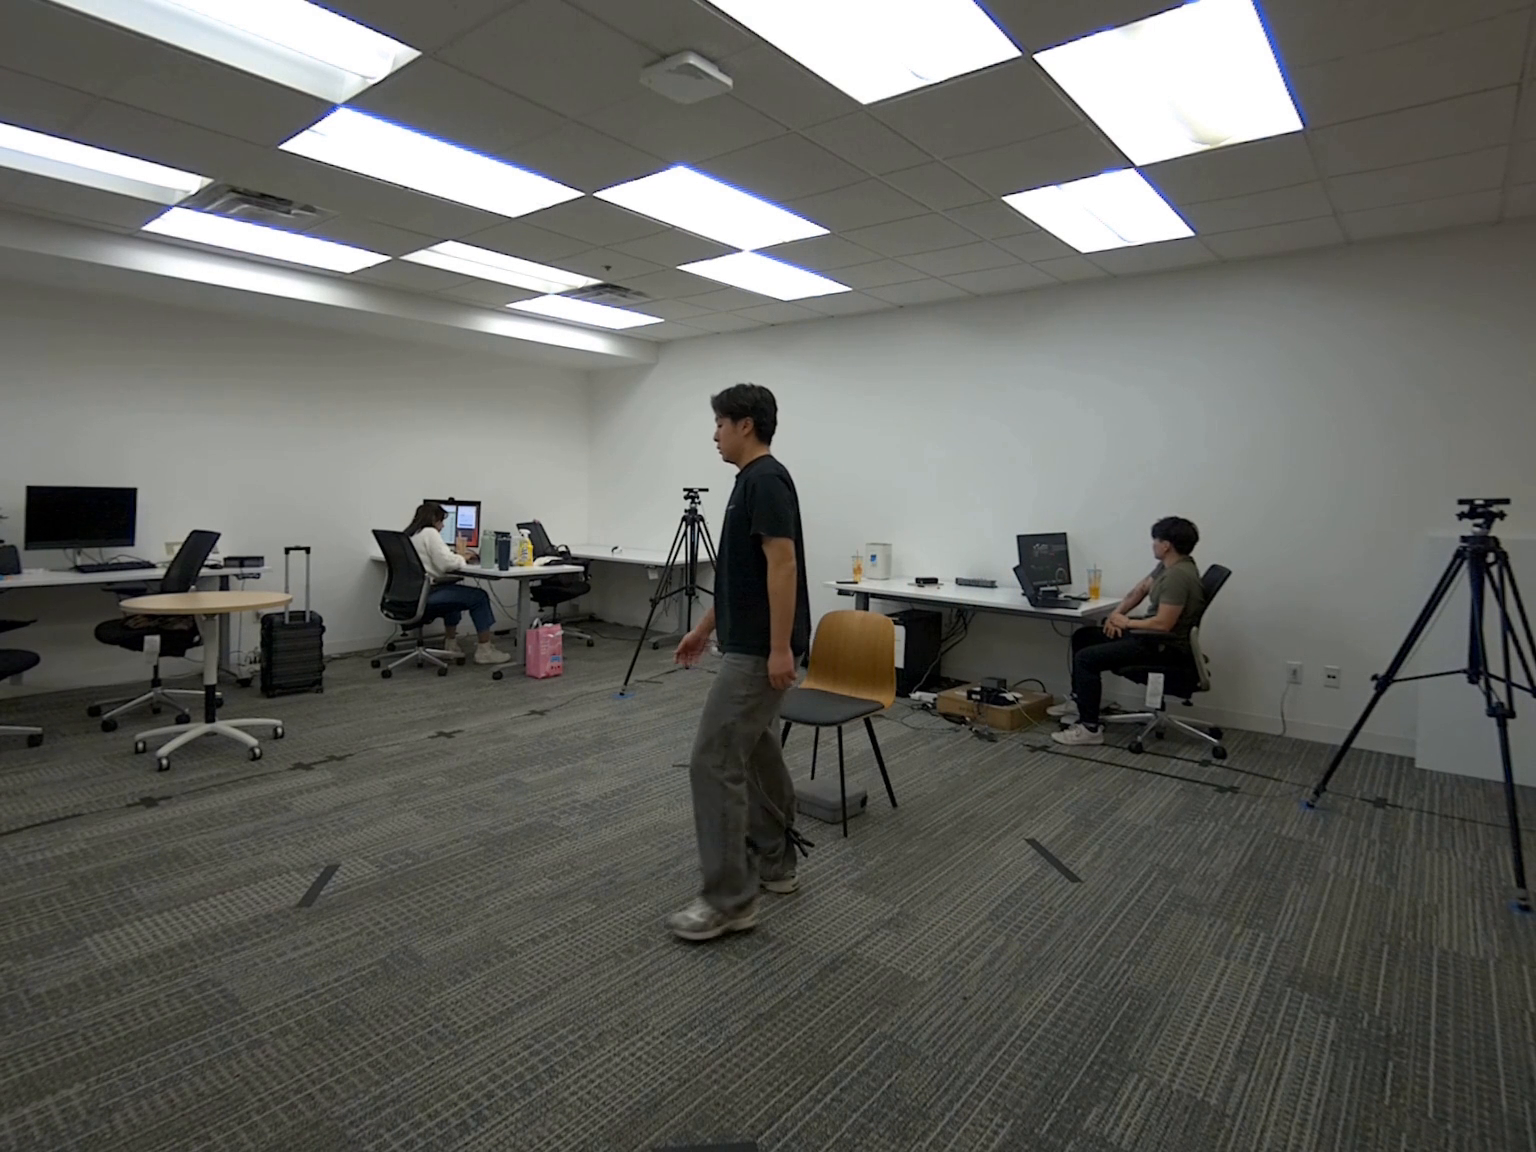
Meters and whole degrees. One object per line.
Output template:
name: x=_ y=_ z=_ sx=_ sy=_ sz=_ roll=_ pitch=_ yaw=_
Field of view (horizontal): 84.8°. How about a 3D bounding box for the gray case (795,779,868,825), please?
gray case: x=0.248 y=0.966 z=3.729 sx=0.255 sy=0.102 sz=0.297 roll=-5 pitch=7 yaw=-45
